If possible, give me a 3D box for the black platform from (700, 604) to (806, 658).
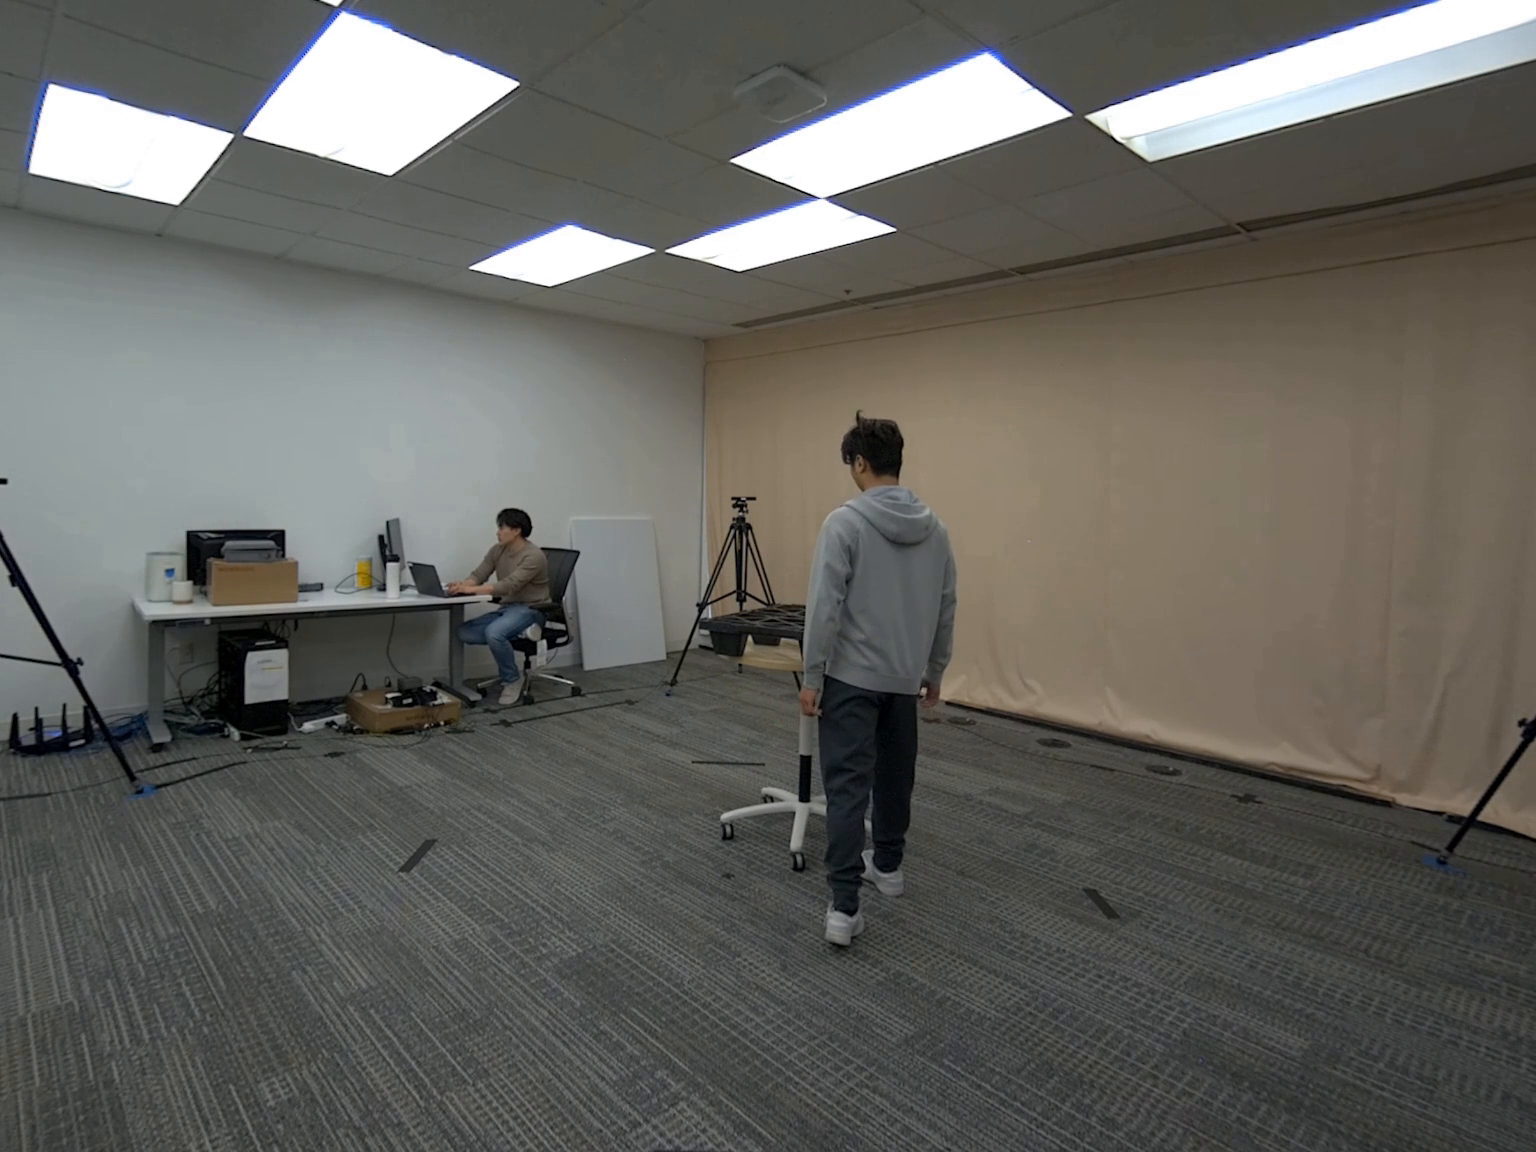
[{"bbox_3d":[0.173,0.232,3.466,0.618,0.143,0.791,5,6,27],"label":"black platform"}]
